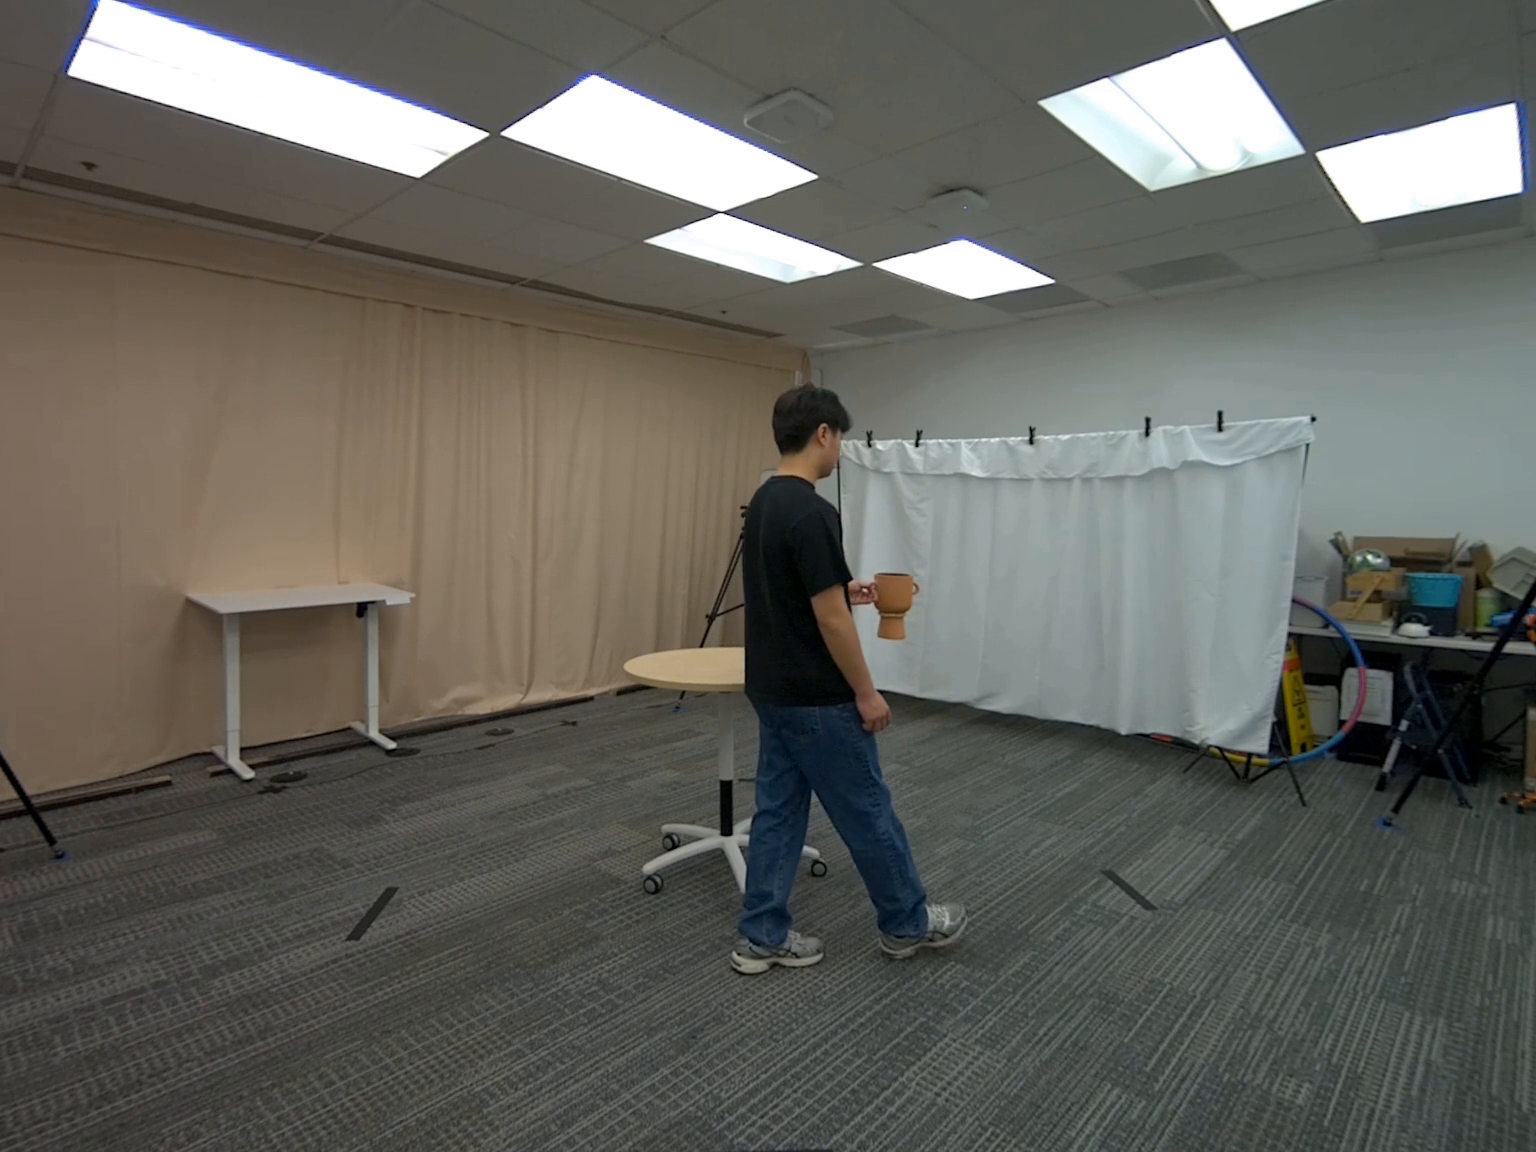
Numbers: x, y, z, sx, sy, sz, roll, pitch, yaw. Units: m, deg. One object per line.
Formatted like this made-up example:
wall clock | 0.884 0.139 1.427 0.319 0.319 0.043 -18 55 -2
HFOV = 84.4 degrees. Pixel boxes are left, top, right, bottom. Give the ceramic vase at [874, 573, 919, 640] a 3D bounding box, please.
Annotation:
ceramic vase | 0.443 0.103 2.917 0.162 0.219 0.132 4 4 21
